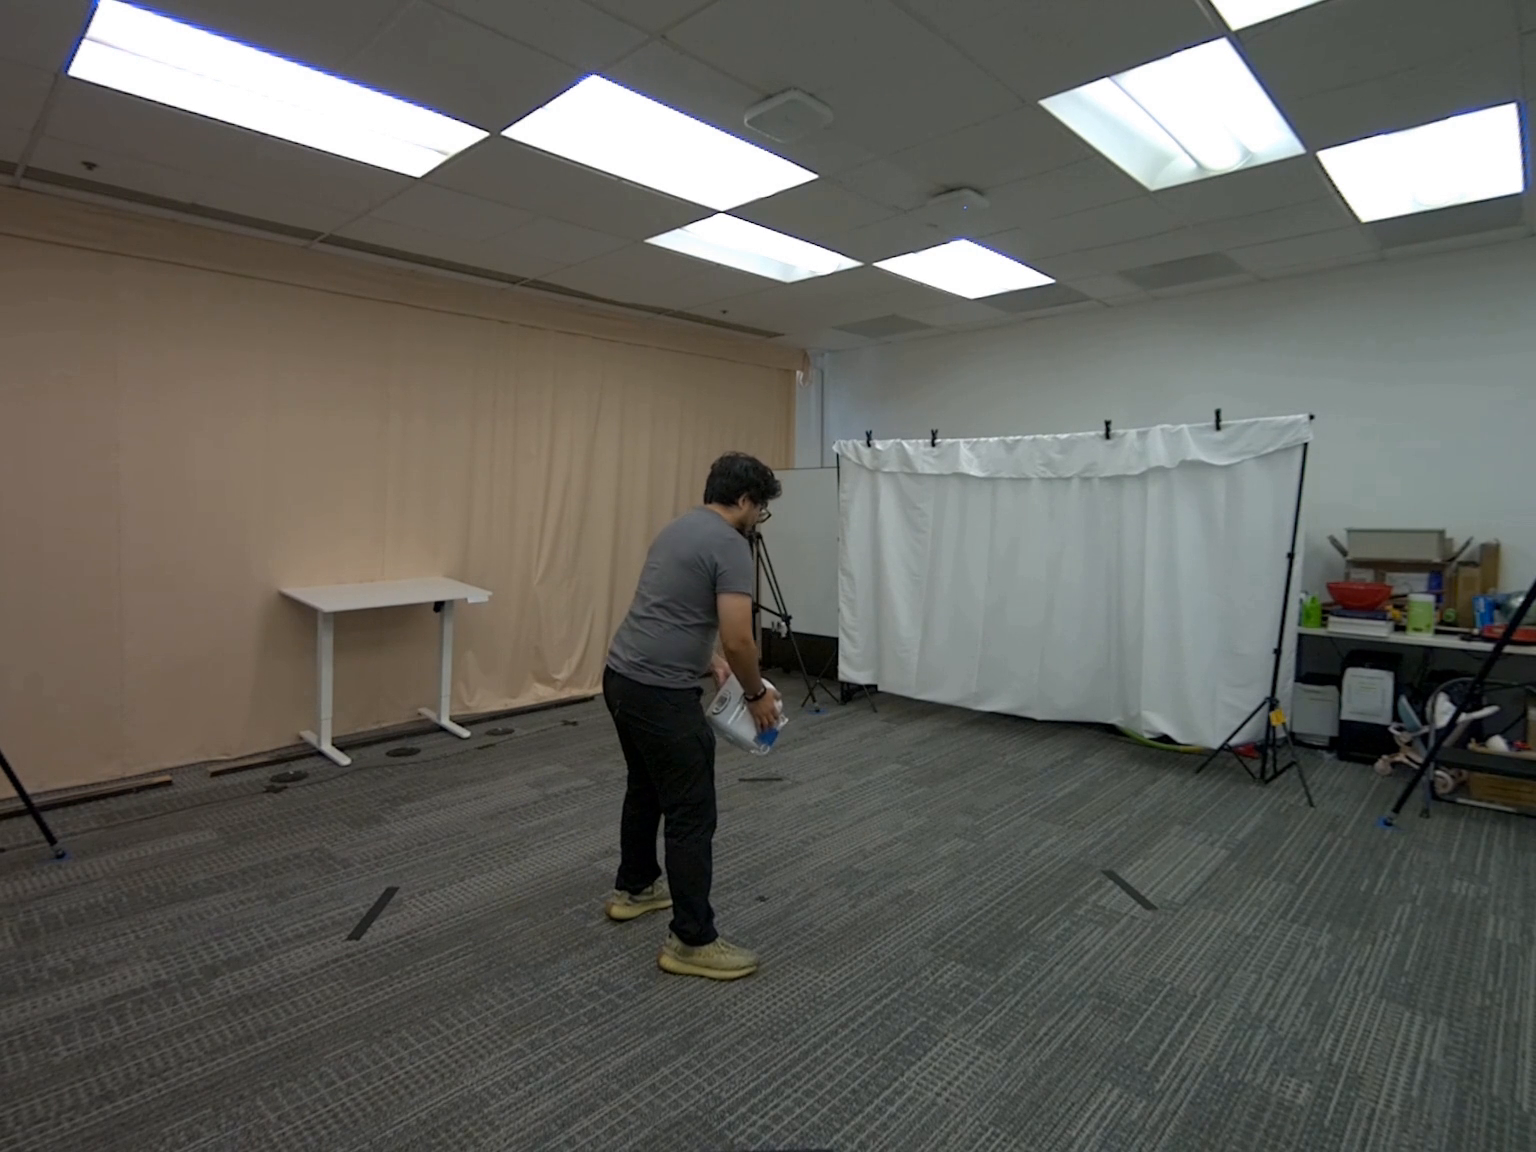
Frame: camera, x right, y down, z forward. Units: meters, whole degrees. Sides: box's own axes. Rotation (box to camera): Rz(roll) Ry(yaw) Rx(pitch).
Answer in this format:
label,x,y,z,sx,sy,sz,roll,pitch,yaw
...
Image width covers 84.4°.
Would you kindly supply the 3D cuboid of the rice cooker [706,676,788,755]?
label,x,y,z,sx,sy,sz,roll,pitch,yaw
rice cooker,-0.064,0.442,2.795,0.228,0.232,0.210,14,-23,51
